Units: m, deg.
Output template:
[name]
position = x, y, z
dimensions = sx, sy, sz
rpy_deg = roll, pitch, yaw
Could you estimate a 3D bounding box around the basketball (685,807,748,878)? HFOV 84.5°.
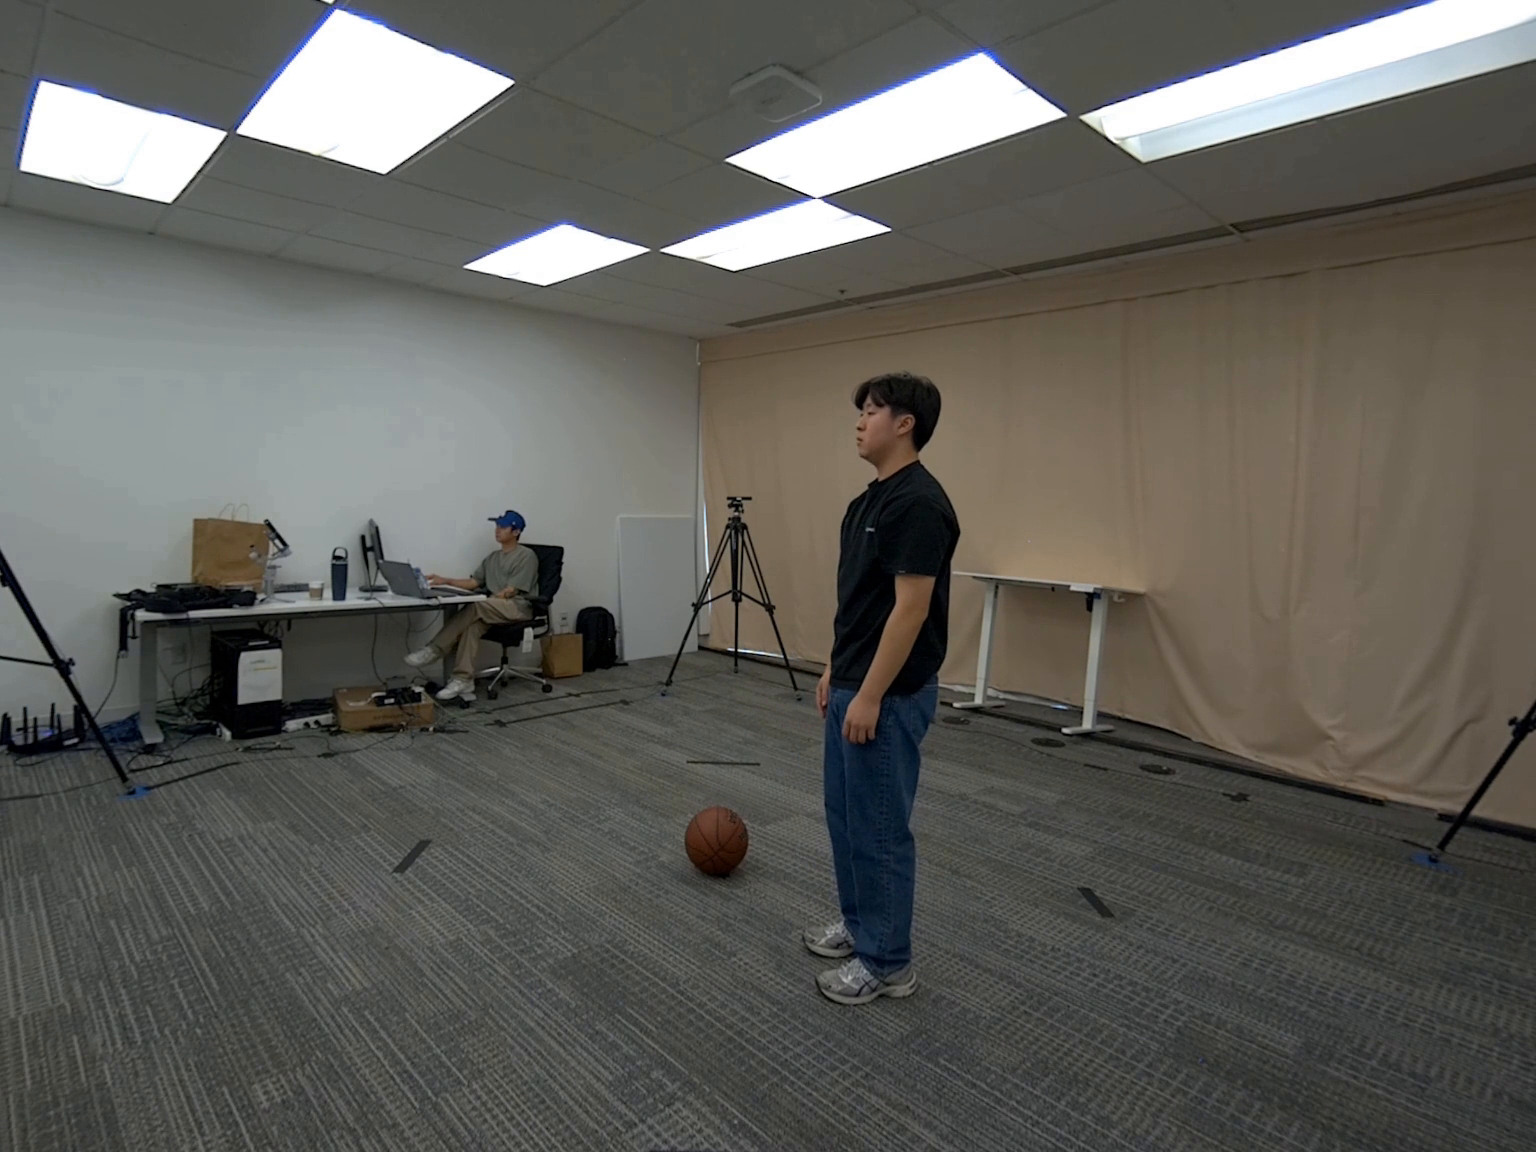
[basketball]
position = -0.193, 0.983, 3.128
dimensions = 0.236, 0.235, 0.237
rpy_deg = 1, 4, -1
